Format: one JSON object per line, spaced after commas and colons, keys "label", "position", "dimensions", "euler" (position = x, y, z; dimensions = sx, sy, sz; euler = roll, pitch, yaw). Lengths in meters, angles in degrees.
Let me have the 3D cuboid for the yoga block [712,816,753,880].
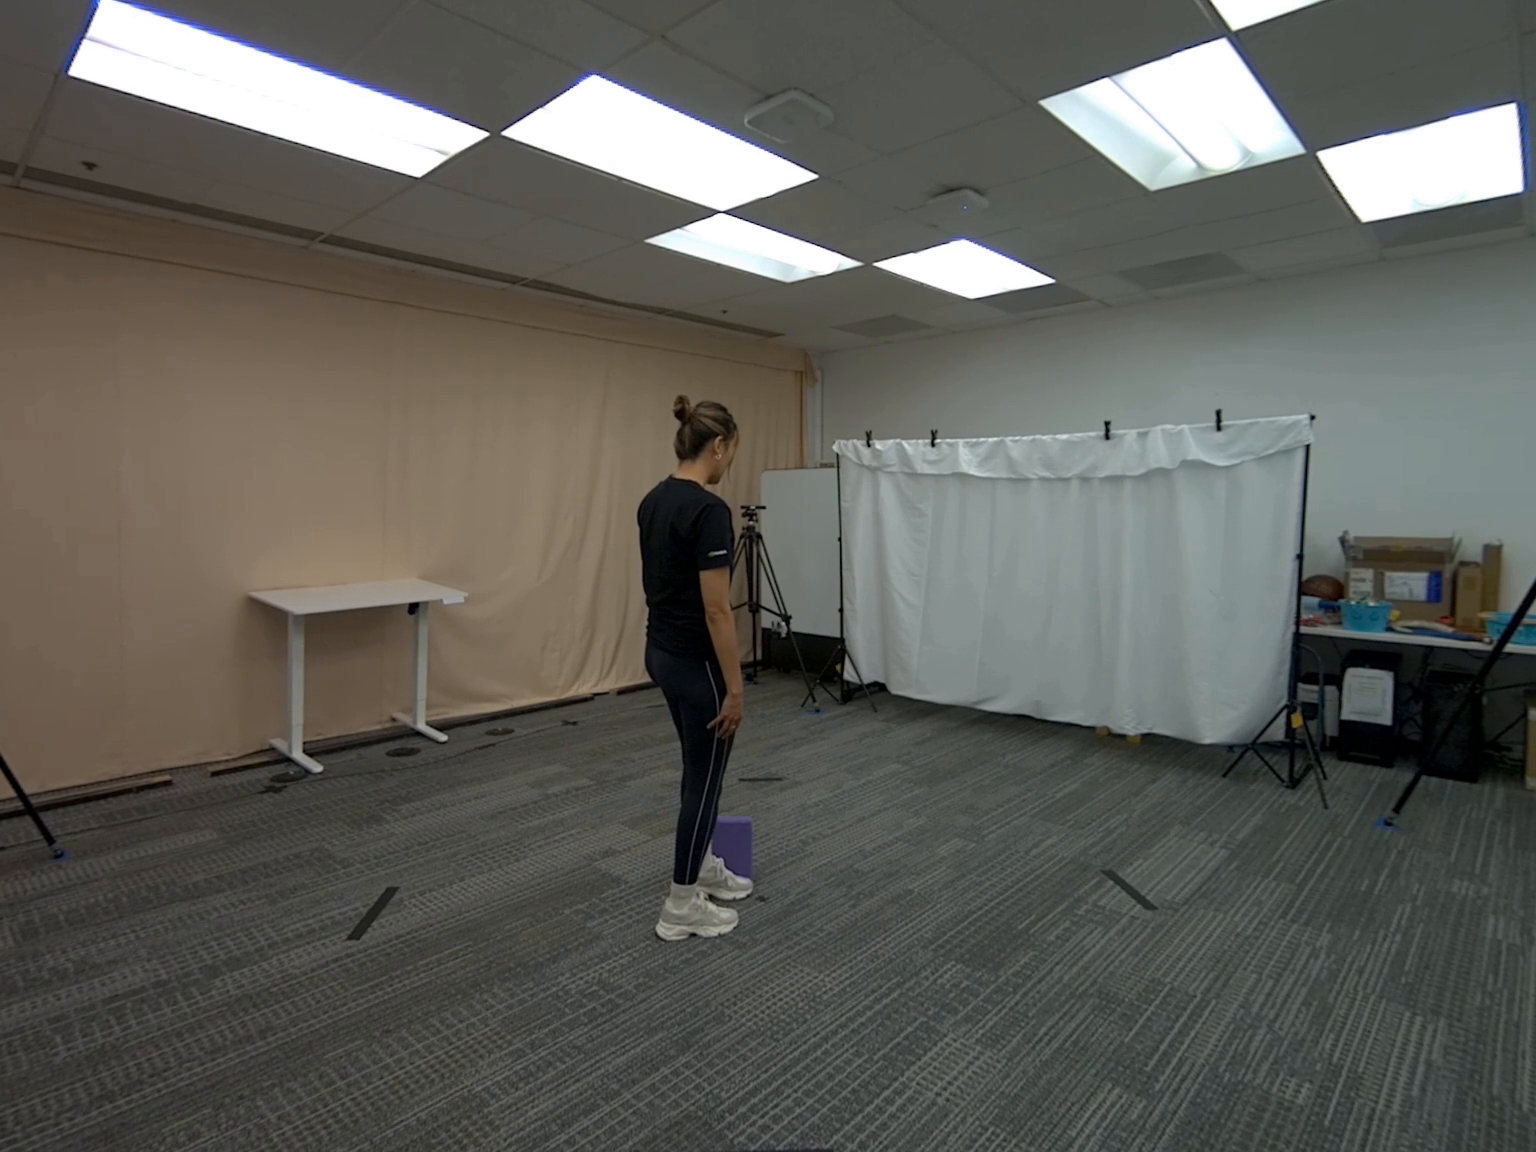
{"label": "yoga block", "position": [-0.132, 1.016, 3.127], "dimensions": [0.149, 0.230, 0.076], "euler": [0, -4, 2]}
